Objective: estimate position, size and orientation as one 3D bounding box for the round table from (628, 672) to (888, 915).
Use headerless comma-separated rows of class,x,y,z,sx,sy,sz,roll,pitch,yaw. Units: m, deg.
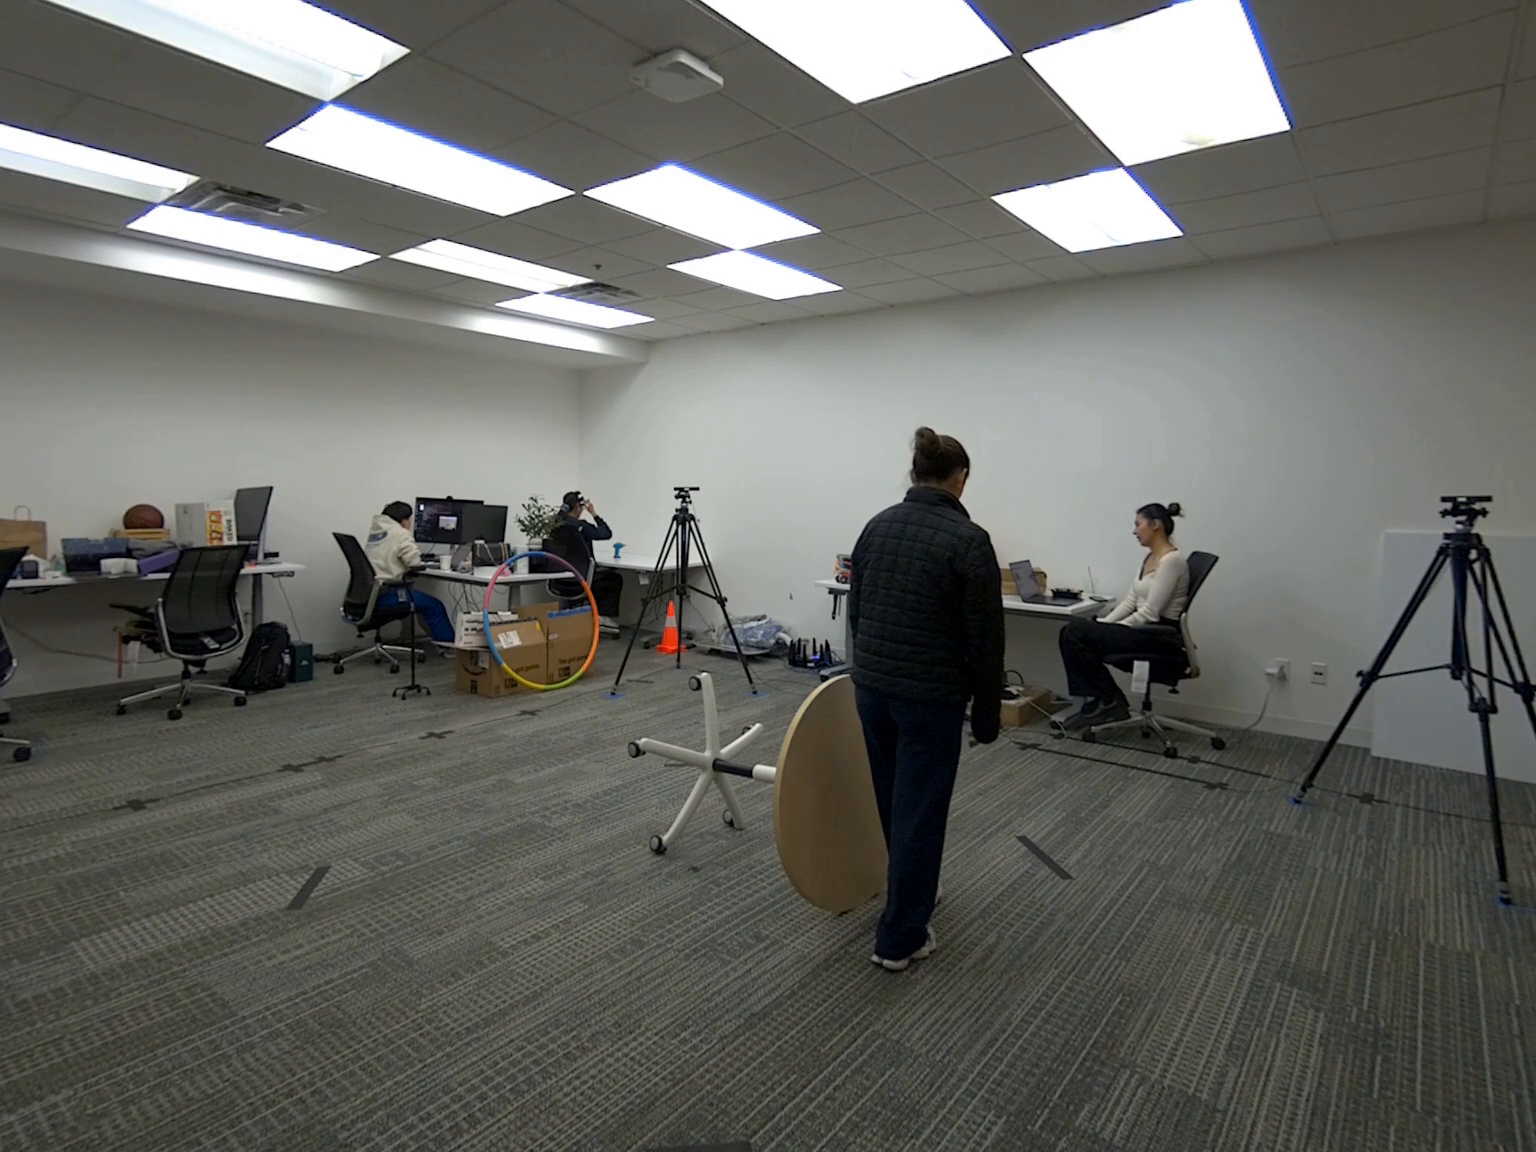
round table,0.007,0.726,3.162,0.810,0.785,0.761,-2,1,44
